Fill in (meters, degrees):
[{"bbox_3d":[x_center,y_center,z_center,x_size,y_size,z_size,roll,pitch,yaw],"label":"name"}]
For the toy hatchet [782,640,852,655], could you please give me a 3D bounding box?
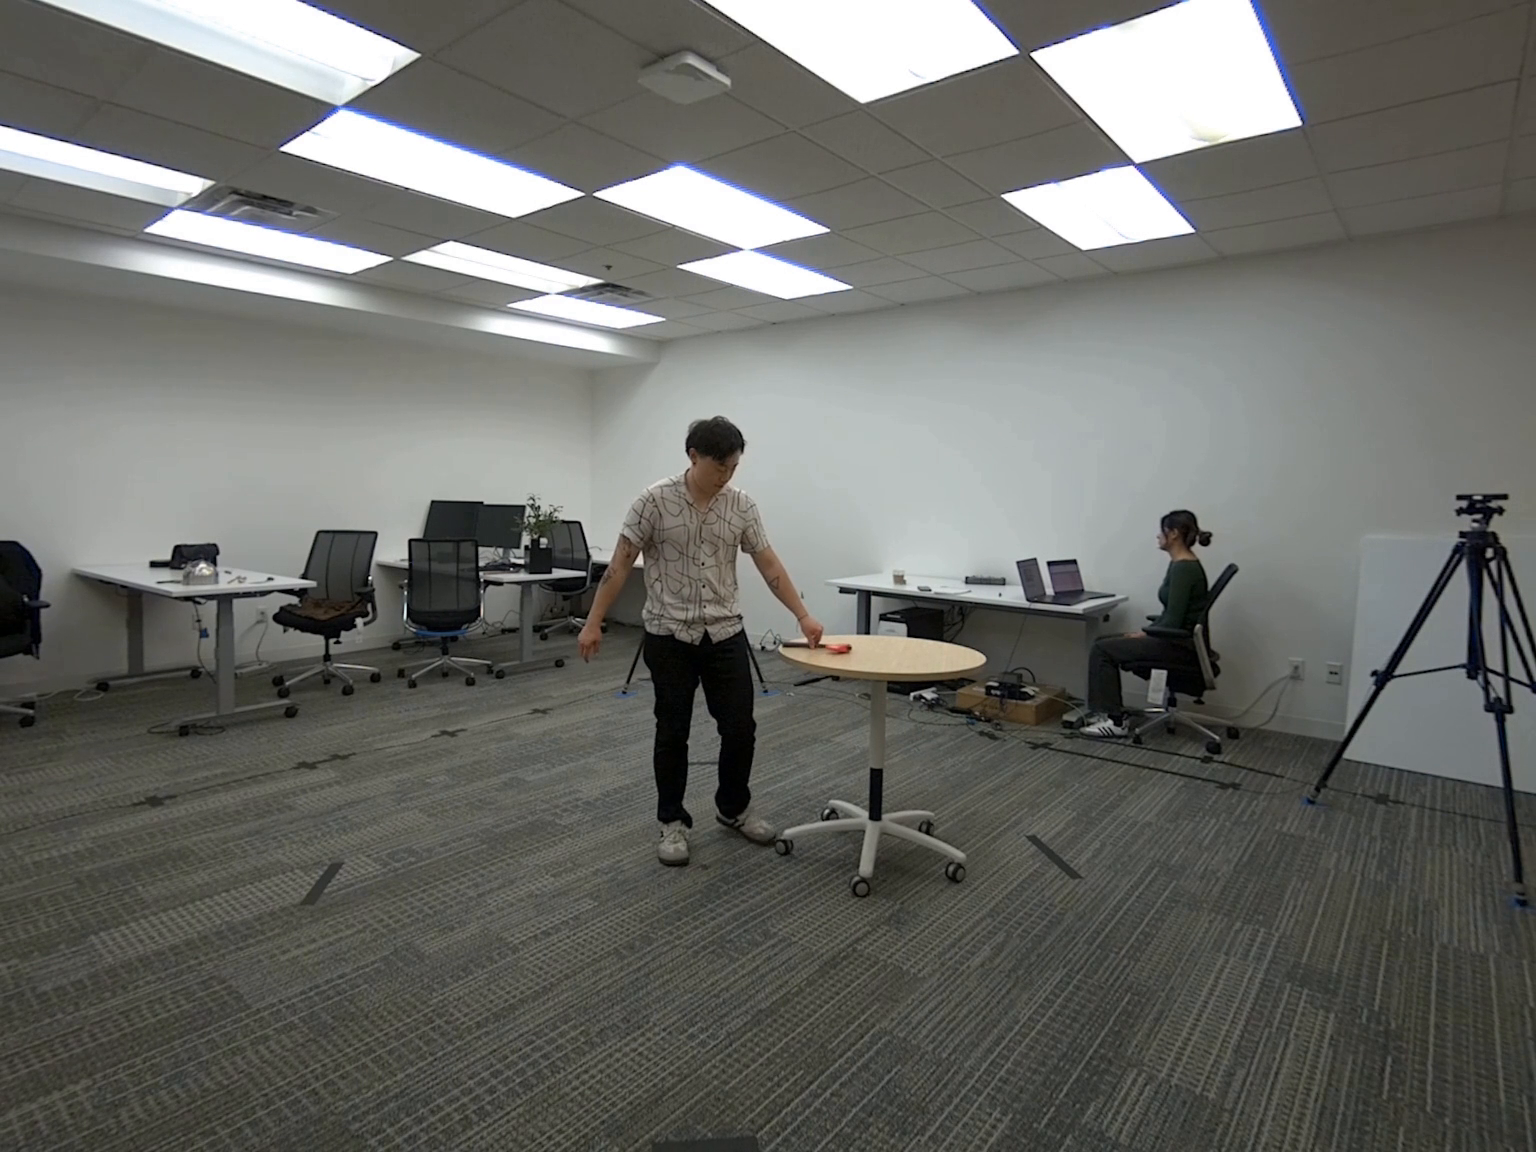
[{"bbox_3d":[0.177,0.266,3.216,0.273,0.029,0.129,1,0,11],"label":"toy hatchet"}]
